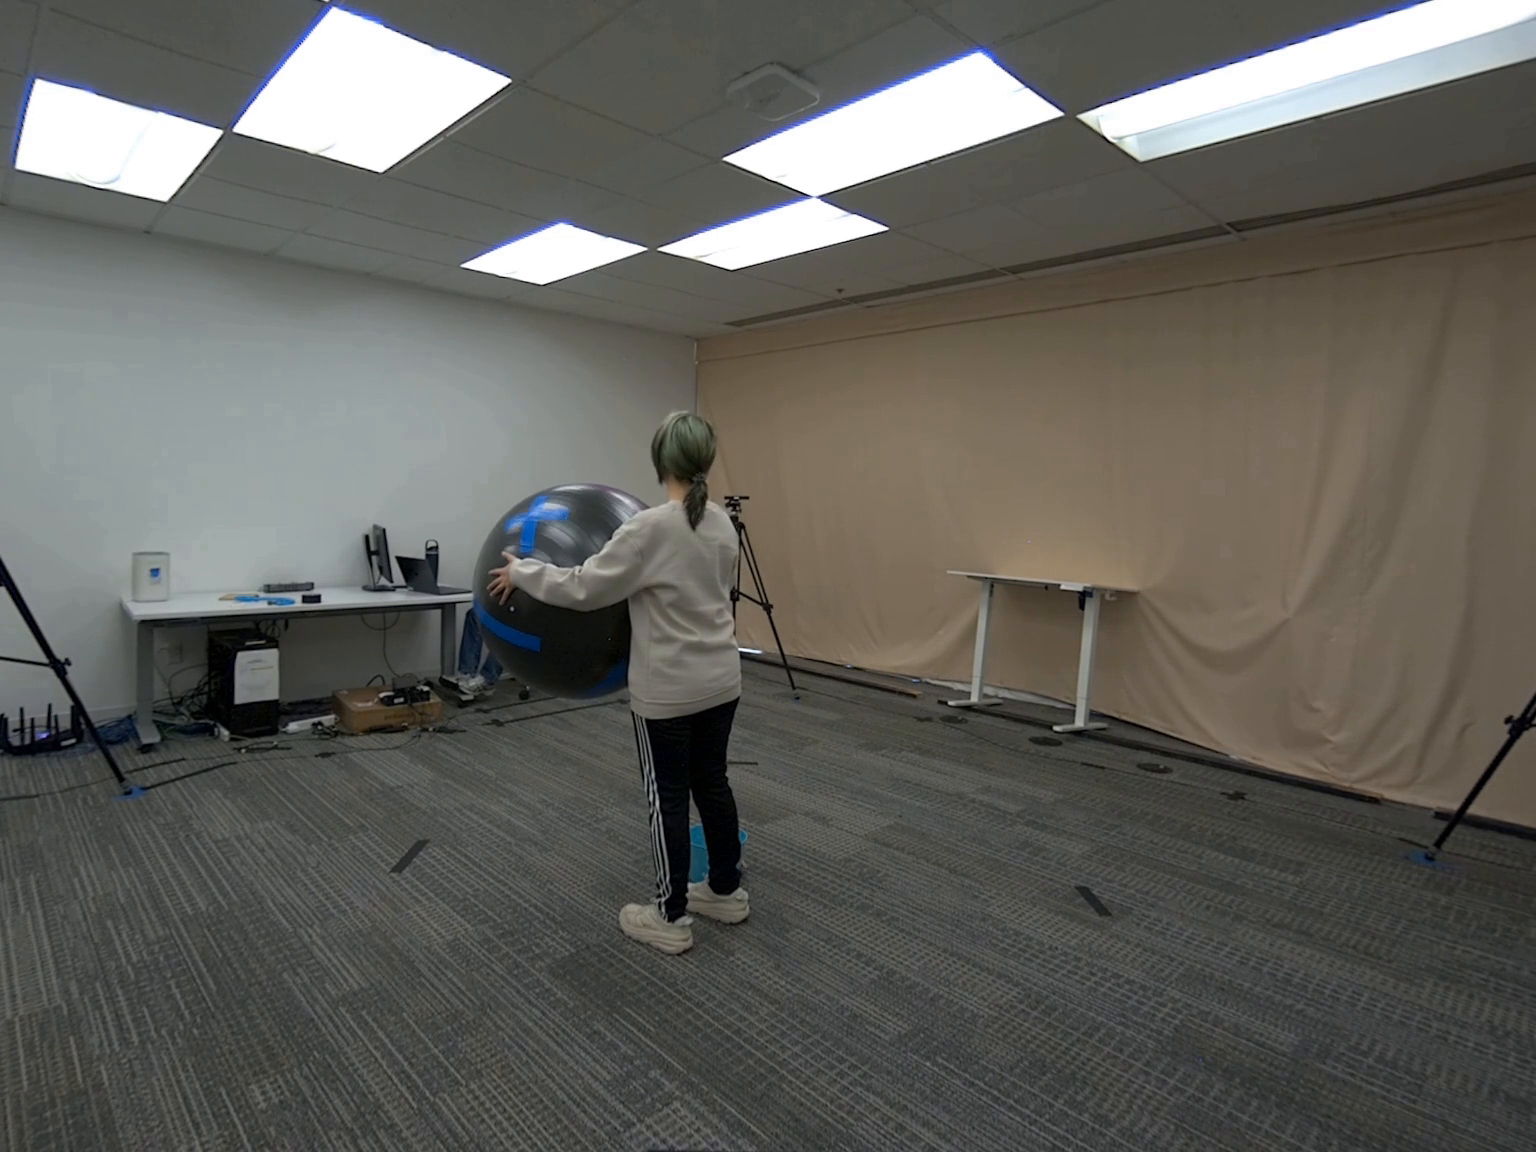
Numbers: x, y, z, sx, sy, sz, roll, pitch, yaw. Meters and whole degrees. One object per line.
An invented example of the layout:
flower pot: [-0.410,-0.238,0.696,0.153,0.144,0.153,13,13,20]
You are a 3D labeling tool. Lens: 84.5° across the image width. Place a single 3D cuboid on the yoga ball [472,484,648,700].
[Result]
yoga ball: [-0.666,0.058,2.983,0.757,0.756,0.761,1,4,-1]
